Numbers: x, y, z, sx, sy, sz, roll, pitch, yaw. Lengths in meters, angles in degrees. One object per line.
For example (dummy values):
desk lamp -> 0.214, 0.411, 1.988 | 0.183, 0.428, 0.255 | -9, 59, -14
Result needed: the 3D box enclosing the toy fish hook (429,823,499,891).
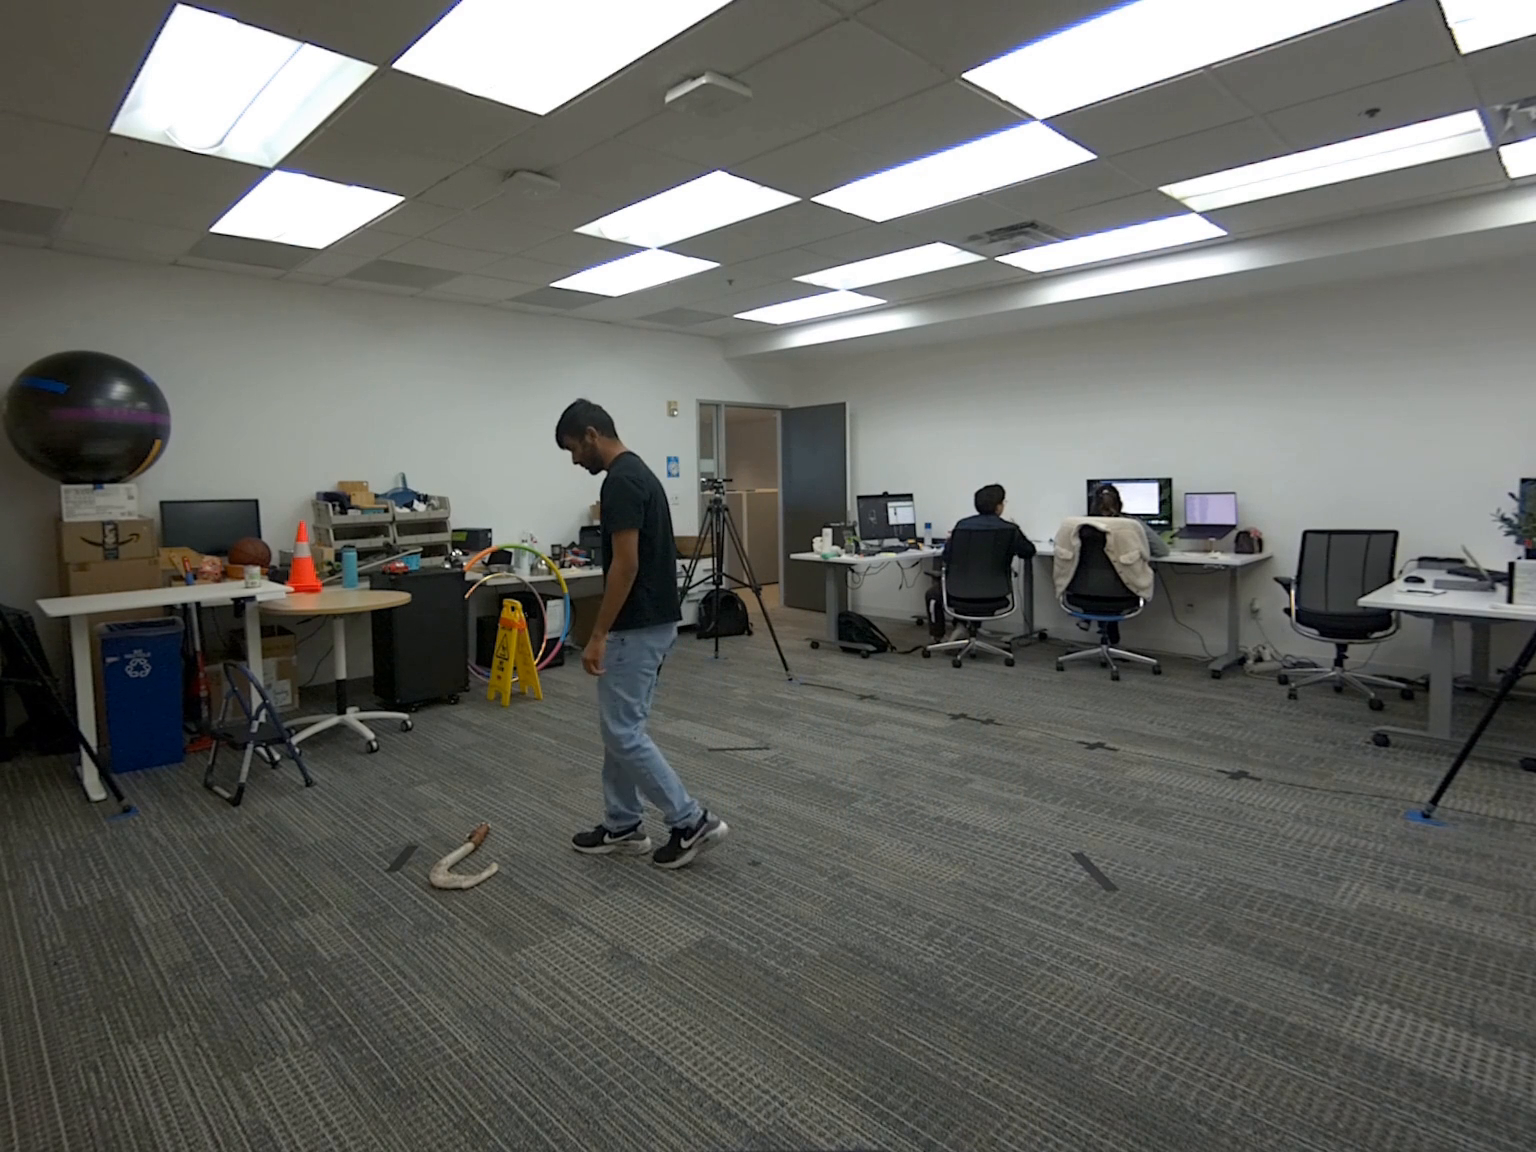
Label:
toy fish hook -> -1.080, 1.038, 3.196 | 0.225, 0.048, 0.508 | 6, 7, 0
